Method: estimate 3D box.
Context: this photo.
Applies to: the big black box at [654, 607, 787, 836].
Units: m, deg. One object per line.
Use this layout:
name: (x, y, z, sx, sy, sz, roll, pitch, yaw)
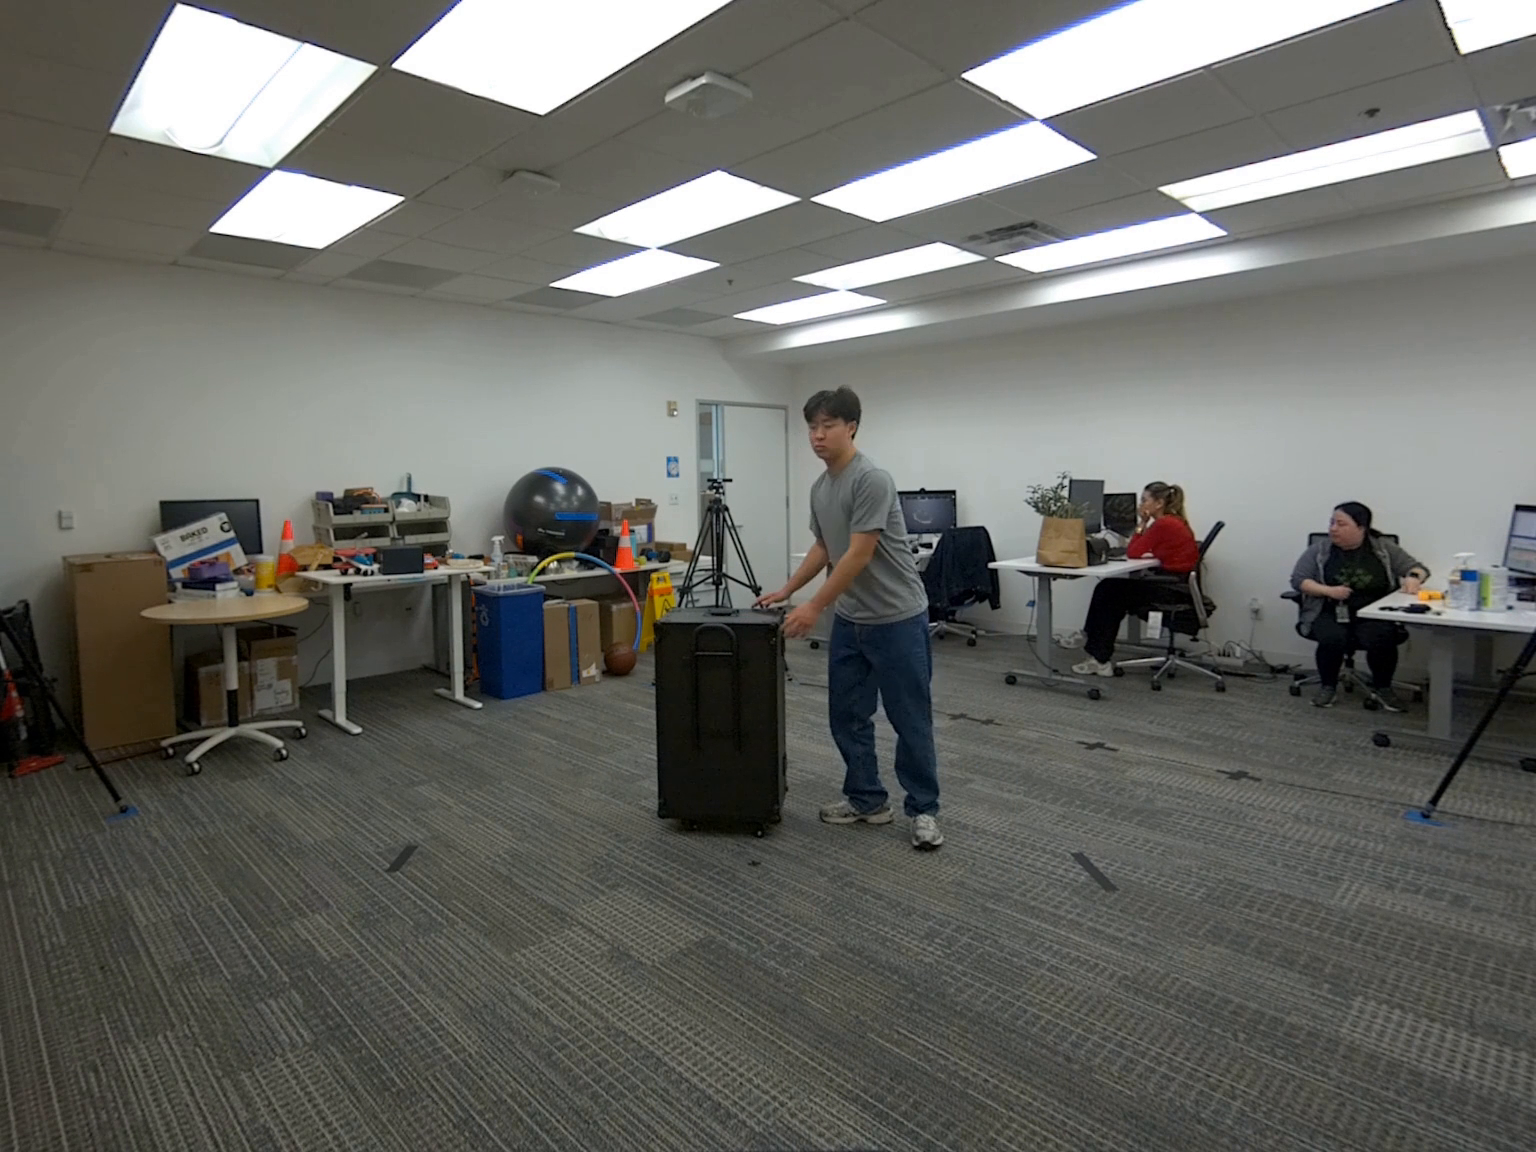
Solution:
big black box: (-0.172, 0.581, 3.468, 0.526, 0.857, 0.394, 0, 5, 9)
